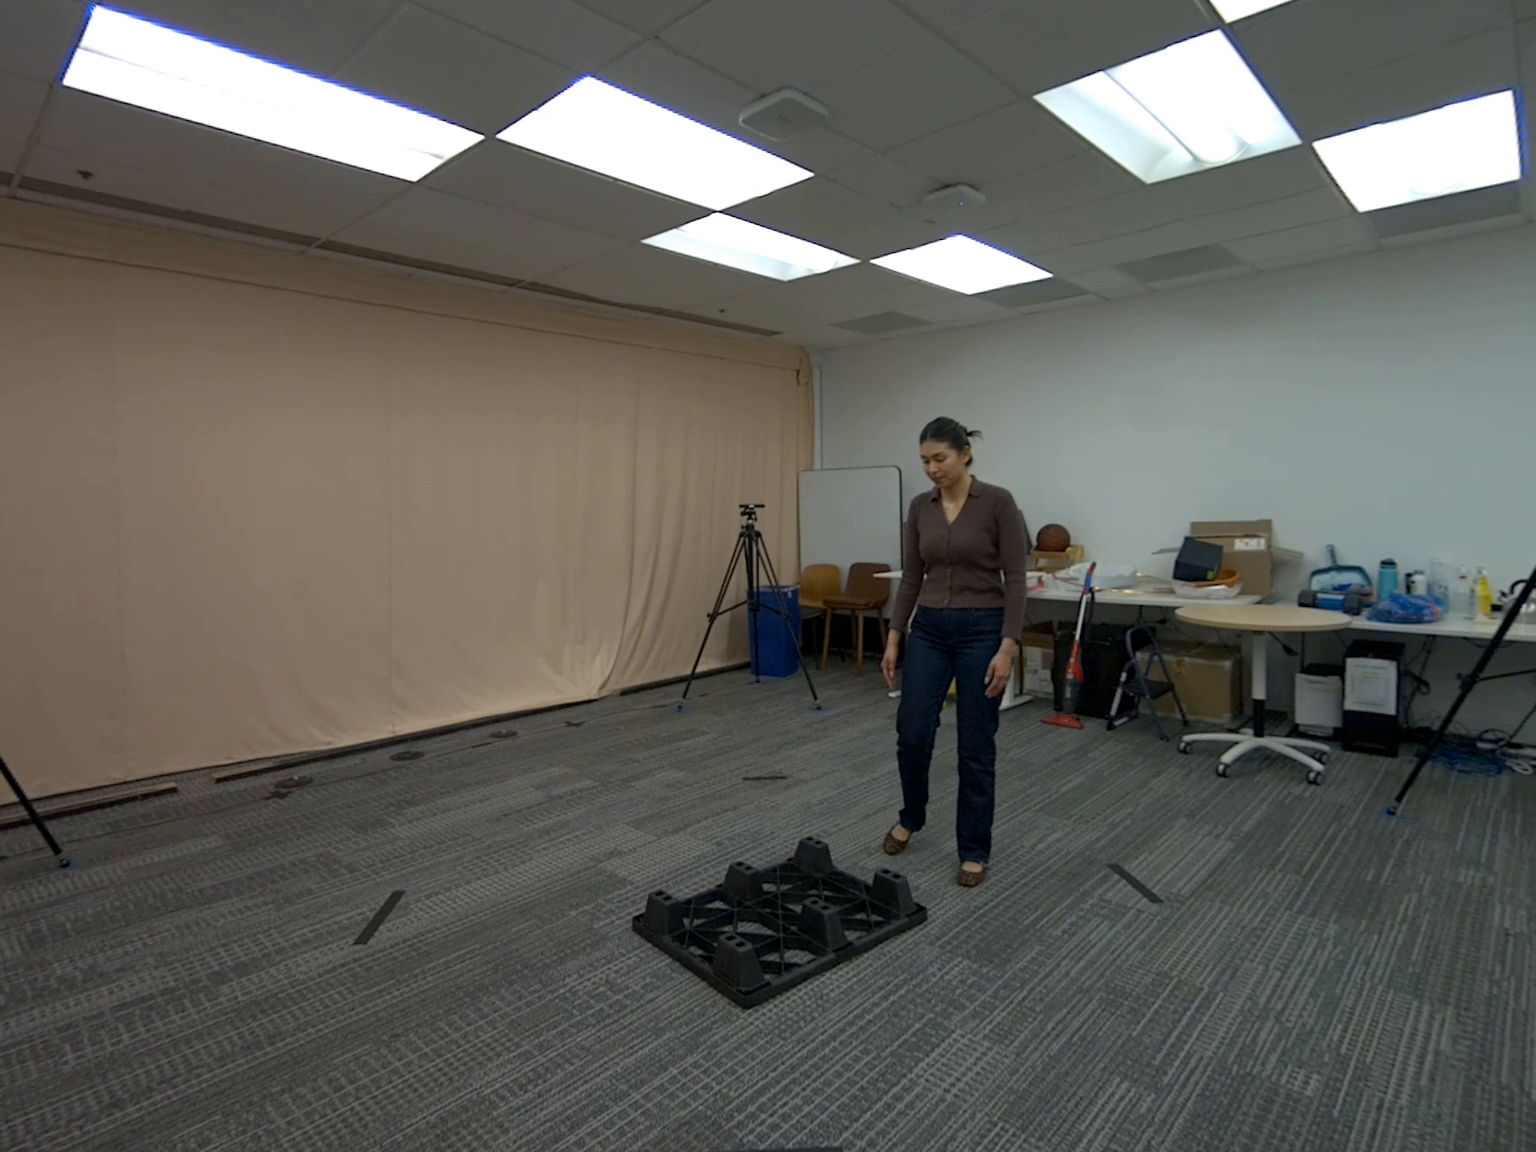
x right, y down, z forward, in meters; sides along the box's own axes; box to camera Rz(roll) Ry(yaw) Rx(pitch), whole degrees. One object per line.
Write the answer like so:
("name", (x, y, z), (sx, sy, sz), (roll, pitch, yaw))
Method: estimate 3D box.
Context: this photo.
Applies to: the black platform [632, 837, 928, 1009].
("black platform", (0.043, 1.087, 2.792), (0.781, 0.143, 0.625), (-5, 6, -40))
